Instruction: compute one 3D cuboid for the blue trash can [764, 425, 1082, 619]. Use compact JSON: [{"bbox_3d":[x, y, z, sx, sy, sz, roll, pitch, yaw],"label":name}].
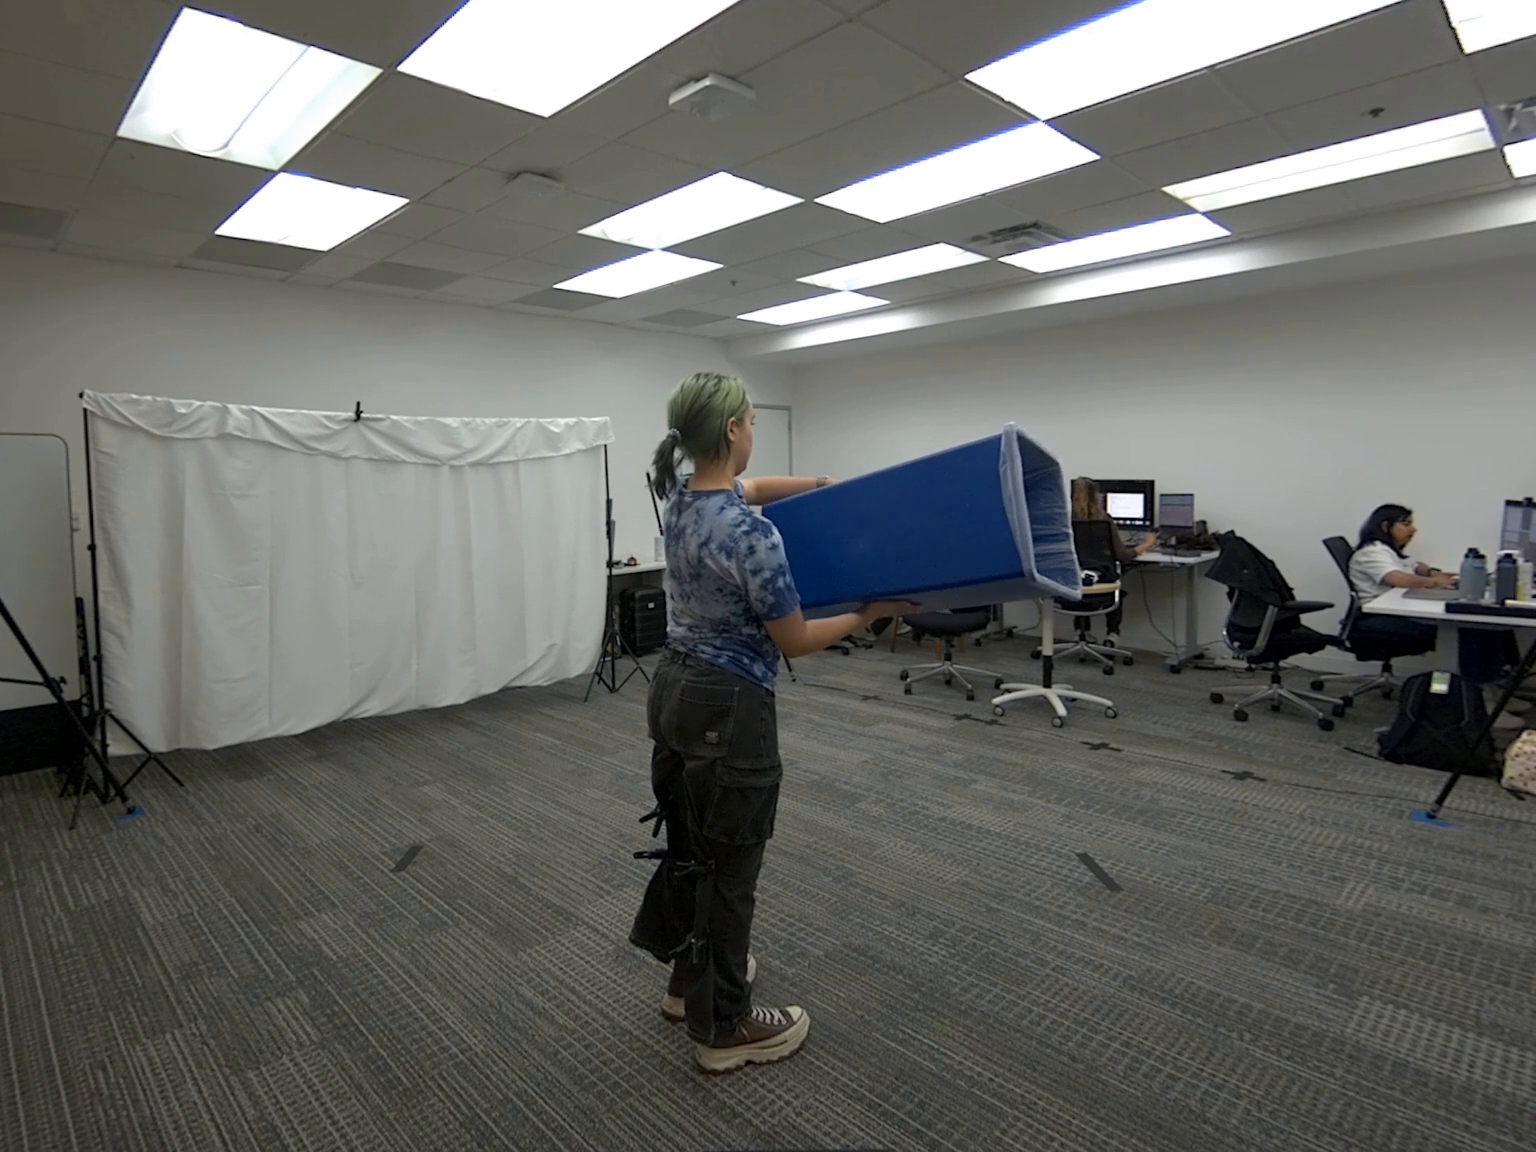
[{"bbox_3d":[0.366,-0.081,2.187,0.728,0.383,0.361,-13,-17,34],"label":"blue trash can"}]
